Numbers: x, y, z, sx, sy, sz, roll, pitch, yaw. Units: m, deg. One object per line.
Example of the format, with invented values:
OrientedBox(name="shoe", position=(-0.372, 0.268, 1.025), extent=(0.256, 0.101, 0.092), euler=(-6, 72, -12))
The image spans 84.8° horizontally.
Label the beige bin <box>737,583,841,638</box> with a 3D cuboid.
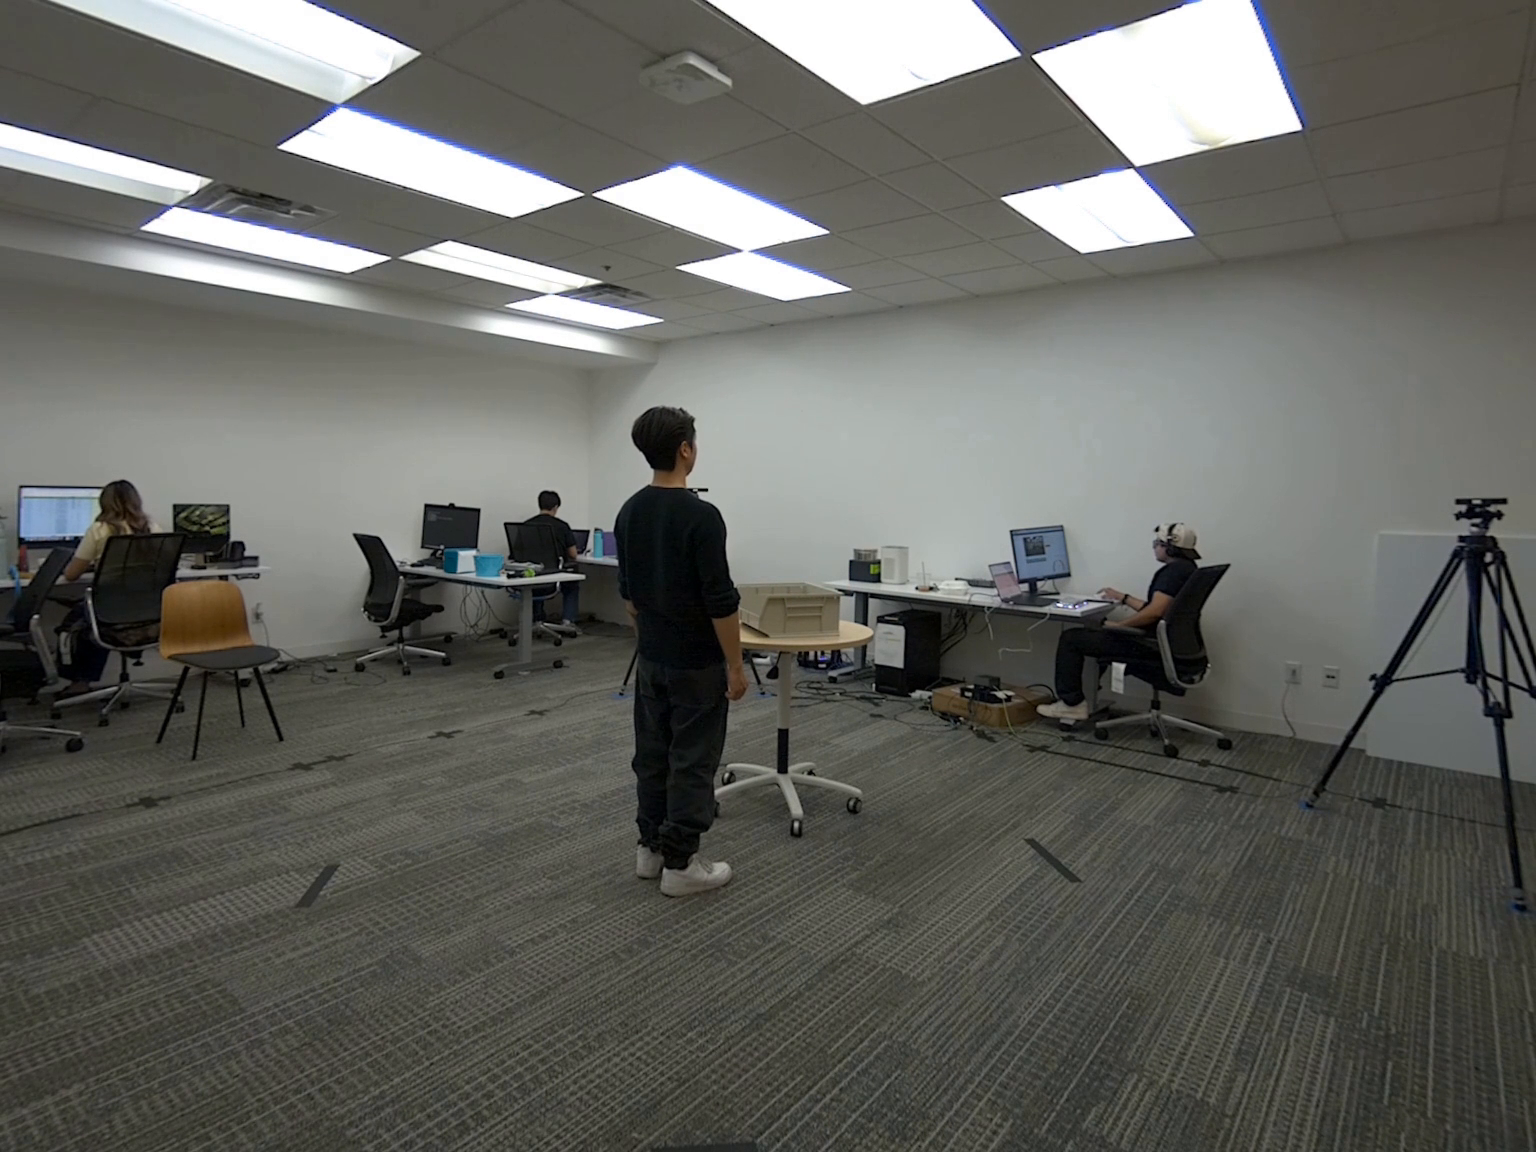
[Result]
OrientedBox(name="beige bin", position=(0.060, 0.140, 3.730), extent=(0.370, 0.188, 0.432), euler=(0, 5, -19))
